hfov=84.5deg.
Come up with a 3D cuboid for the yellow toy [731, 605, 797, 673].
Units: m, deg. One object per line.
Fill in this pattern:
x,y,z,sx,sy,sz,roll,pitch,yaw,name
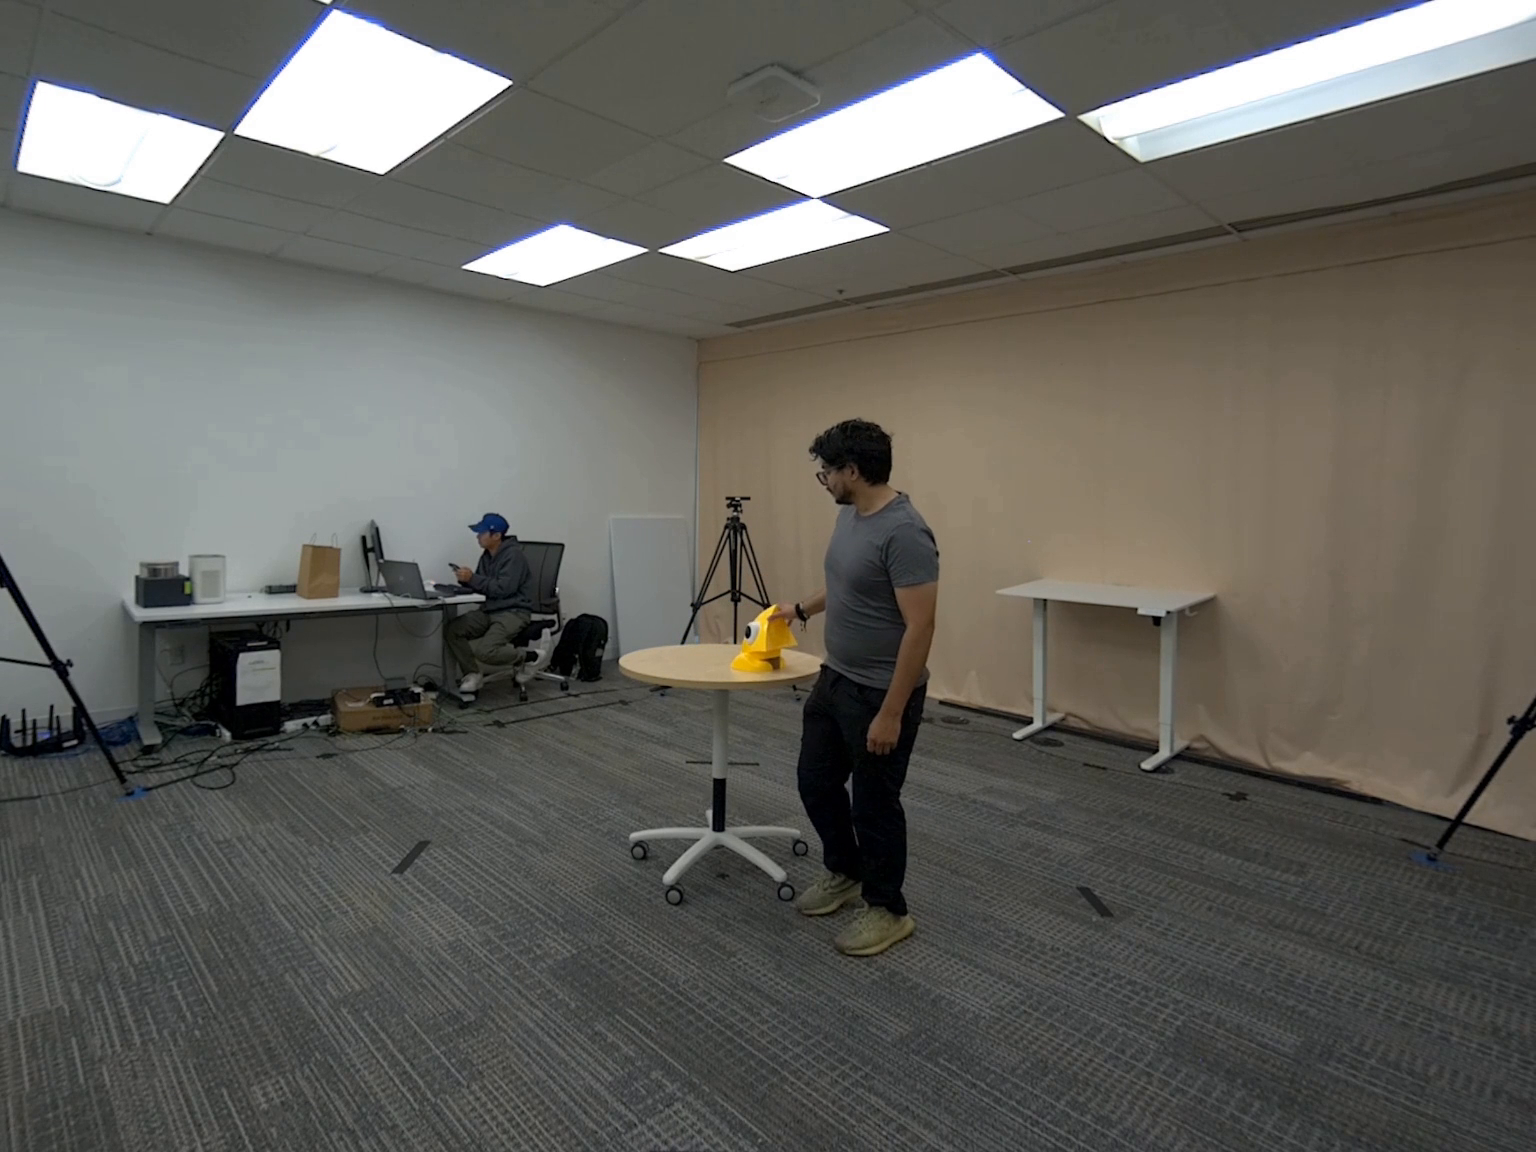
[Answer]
-0.038,0.215,3.037,0.198,0.230,0.200,3,4,37,yellow toy
